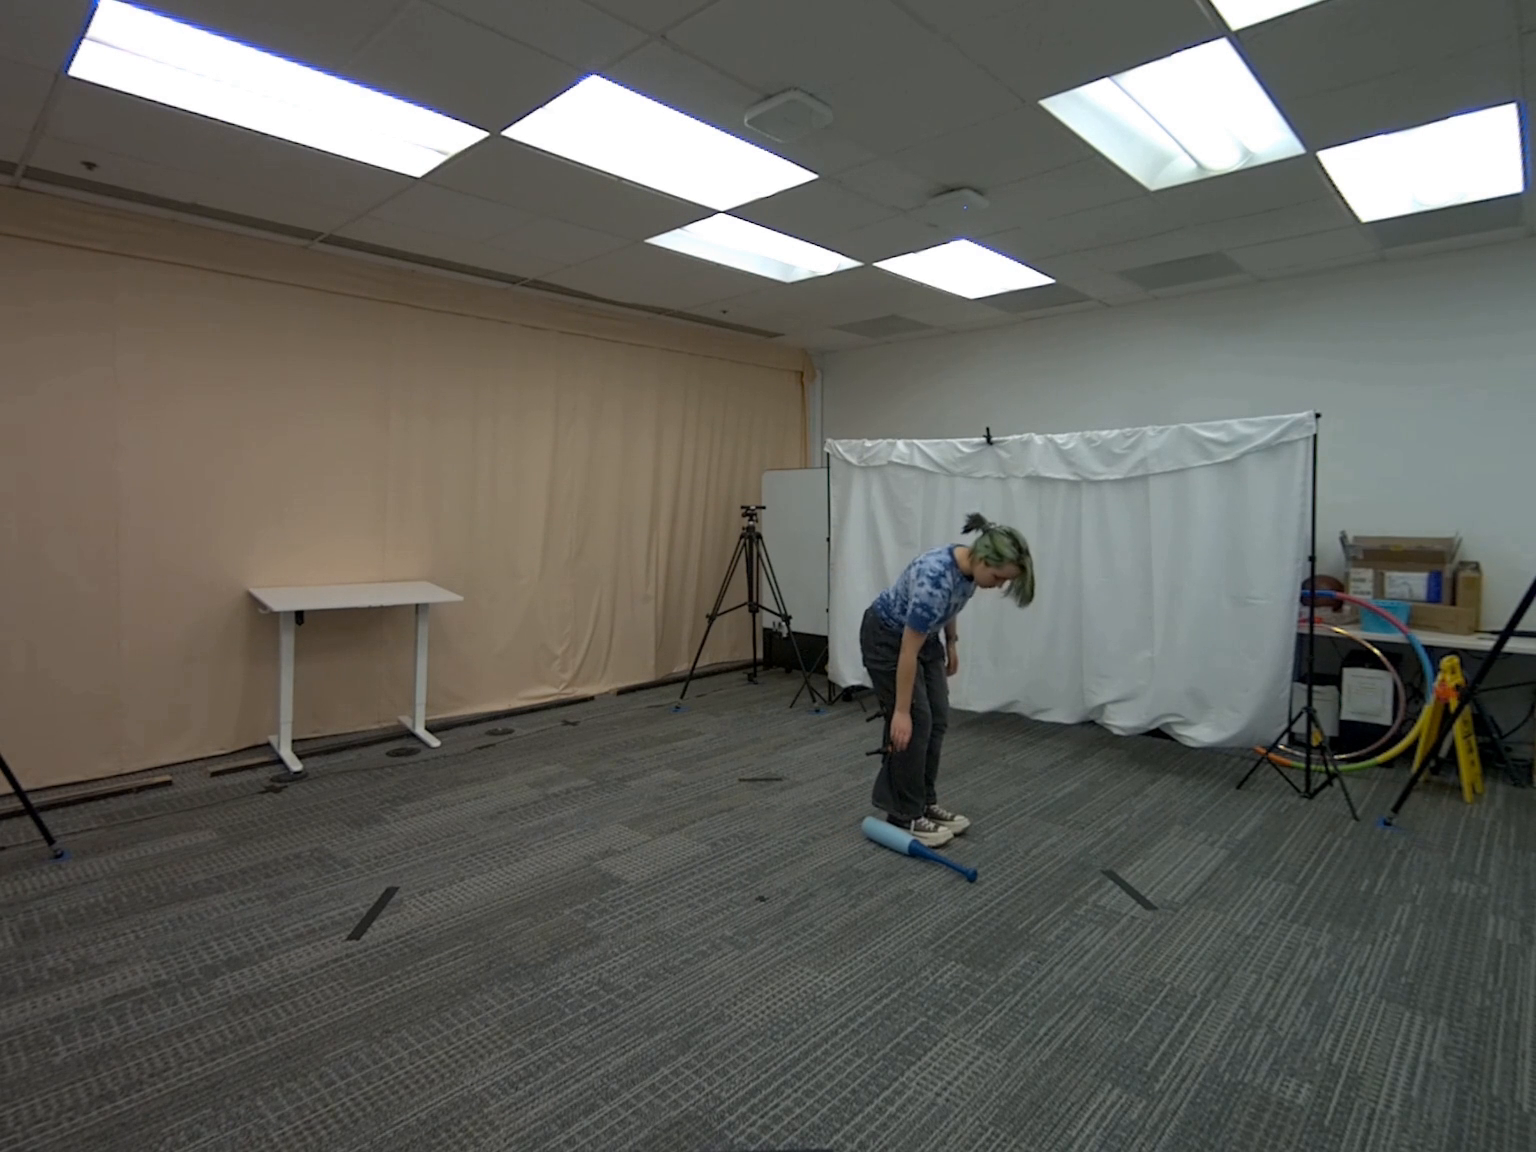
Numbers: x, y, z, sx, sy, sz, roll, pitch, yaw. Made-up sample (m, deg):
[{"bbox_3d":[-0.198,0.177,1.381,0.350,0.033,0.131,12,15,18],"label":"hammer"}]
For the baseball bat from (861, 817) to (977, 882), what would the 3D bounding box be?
[{"bbox_3d":[0.594,1.077,3.327,0.086,0.089,0.562,-3,8,-40],"label":"baseball bat"}]
